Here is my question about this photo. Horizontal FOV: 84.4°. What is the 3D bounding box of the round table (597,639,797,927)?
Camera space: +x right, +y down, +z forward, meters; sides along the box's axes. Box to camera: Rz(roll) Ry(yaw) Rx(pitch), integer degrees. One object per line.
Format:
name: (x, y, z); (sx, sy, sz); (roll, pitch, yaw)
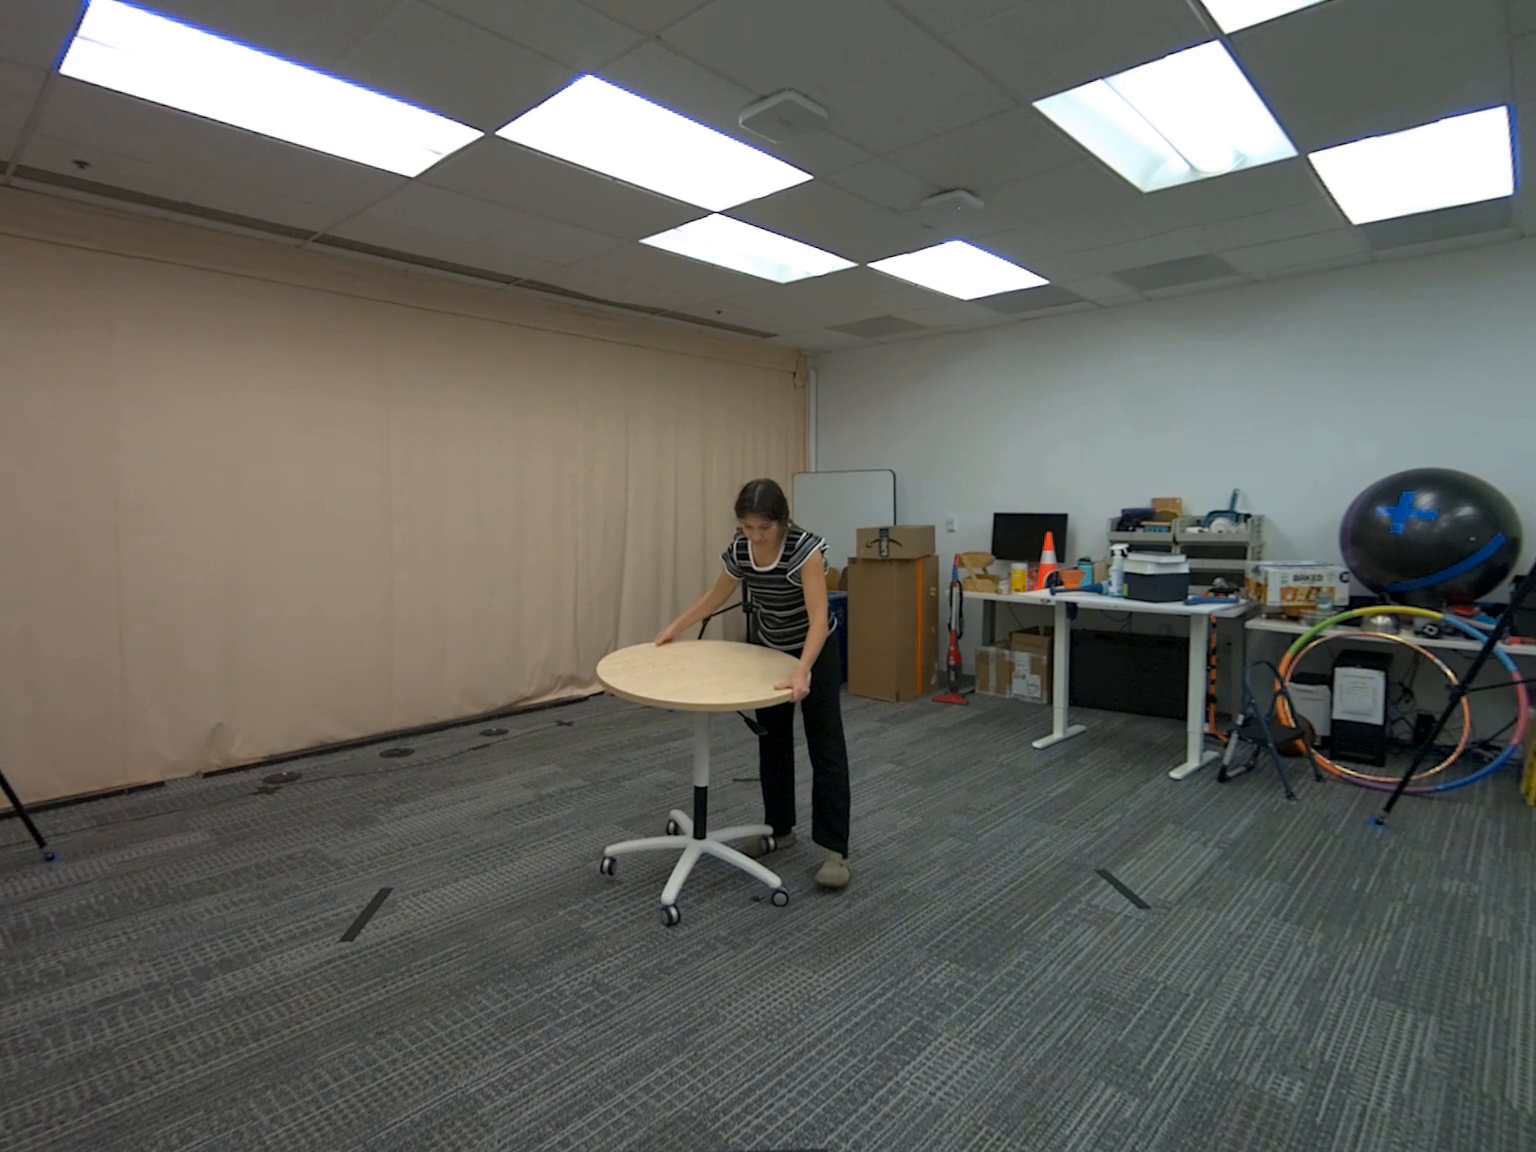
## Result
round table: (-0.248, 0.722, 3.080); (0.763, 0.790, 0.769); (2, 9, -2)
